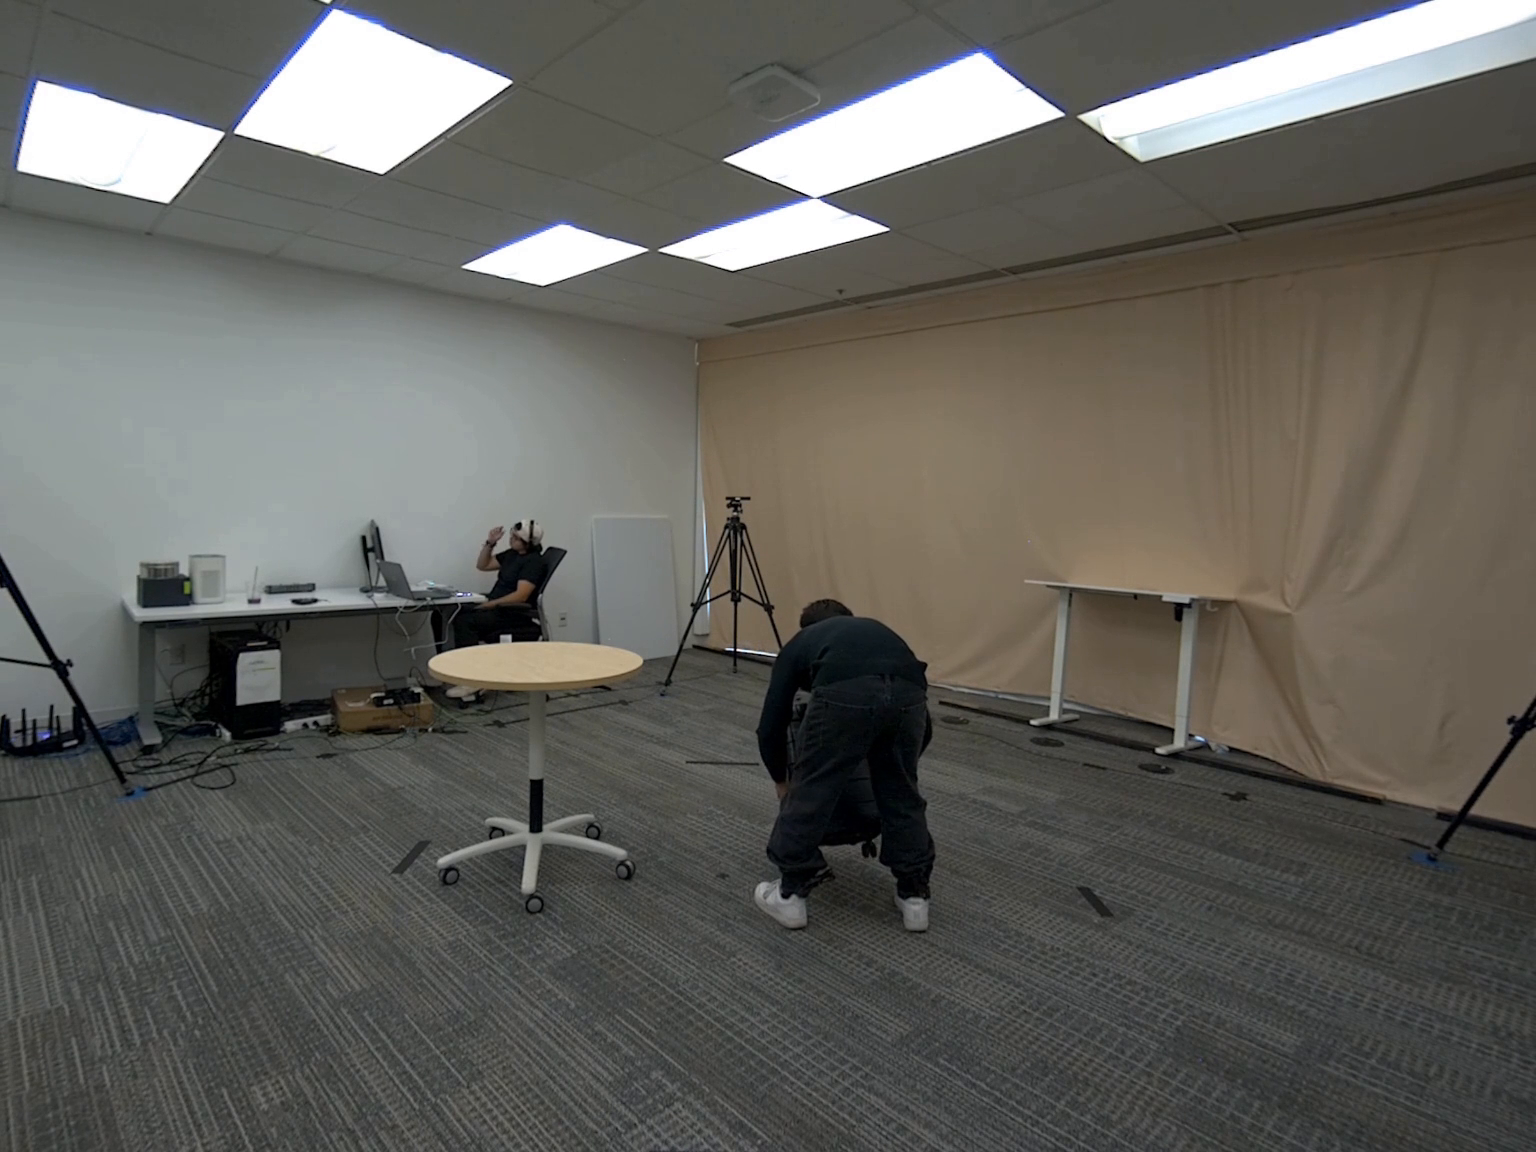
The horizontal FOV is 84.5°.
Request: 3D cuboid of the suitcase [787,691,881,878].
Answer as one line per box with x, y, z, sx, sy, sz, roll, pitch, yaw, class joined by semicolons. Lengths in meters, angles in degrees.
0.215;0.762;3.154;0.372;0.561;0.245;-2;-30;-12;suitcase
